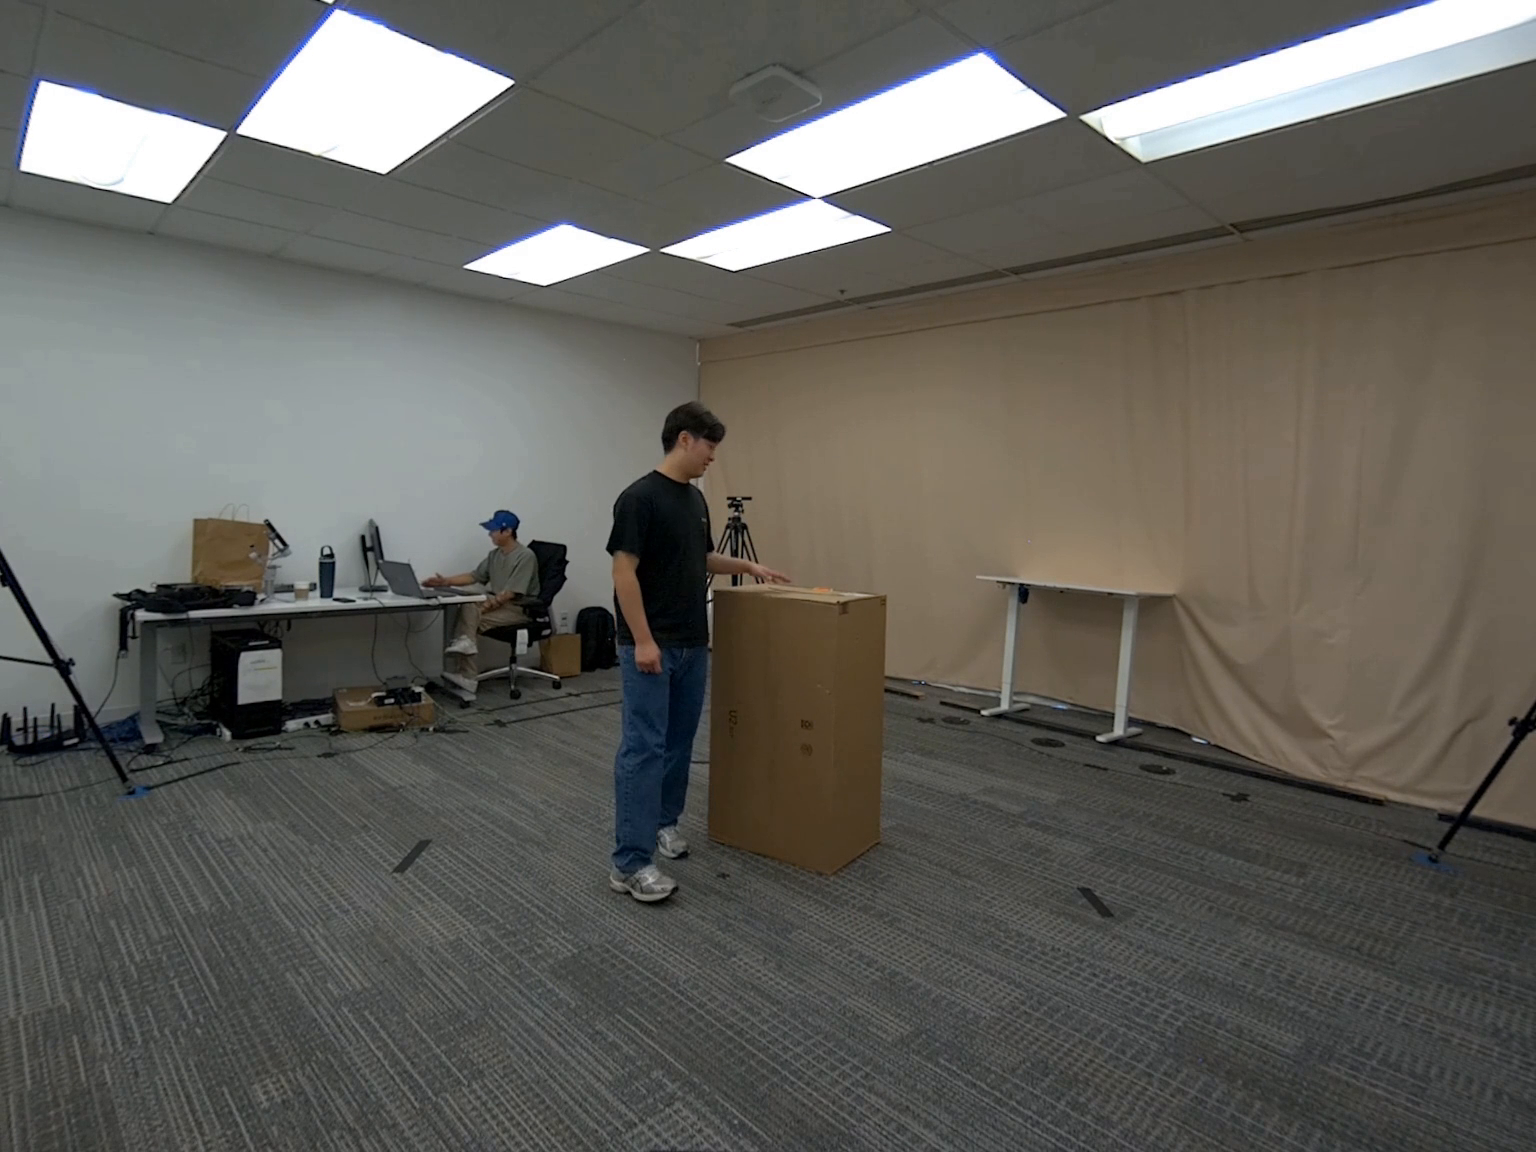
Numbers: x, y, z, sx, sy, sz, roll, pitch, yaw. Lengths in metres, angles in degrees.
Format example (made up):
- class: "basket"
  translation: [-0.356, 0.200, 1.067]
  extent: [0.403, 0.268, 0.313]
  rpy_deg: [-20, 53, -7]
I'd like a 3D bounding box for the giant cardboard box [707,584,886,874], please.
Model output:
- class: "giant cardboard box"
  translation: [0.117, 0.571, 3.432]
  extent: [0.598, 1.025, 0.437]
  rpy_deg: [4, 3, 36]
